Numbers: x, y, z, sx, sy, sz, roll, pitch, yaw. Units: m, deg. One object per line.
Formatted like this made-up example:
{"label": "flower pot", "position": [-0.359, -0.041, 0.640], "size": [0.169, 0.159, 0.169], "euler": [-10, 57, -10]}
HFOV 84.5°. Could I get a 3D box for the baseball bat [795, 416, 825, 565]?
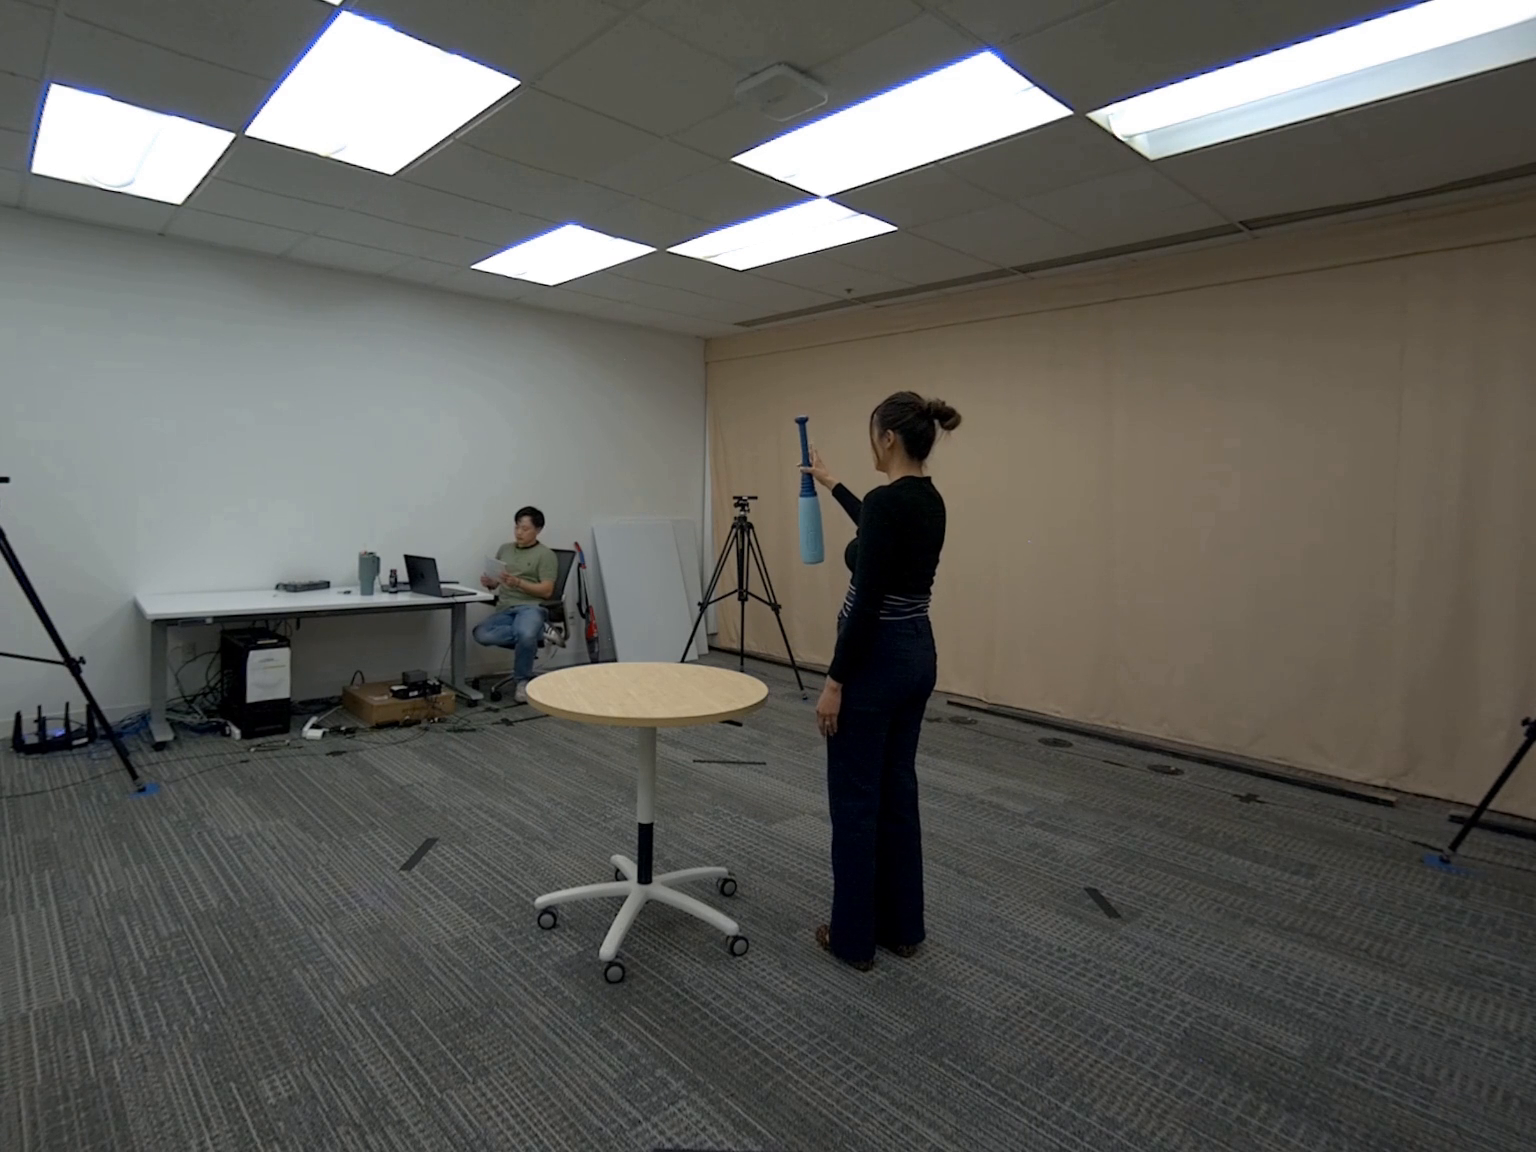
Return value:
{"label": "baseball bat", "position": [0.140, -0.312, 3.078], "size": [0.089, 0.539, 0.090], "euler": [-4, 9, -1]}
